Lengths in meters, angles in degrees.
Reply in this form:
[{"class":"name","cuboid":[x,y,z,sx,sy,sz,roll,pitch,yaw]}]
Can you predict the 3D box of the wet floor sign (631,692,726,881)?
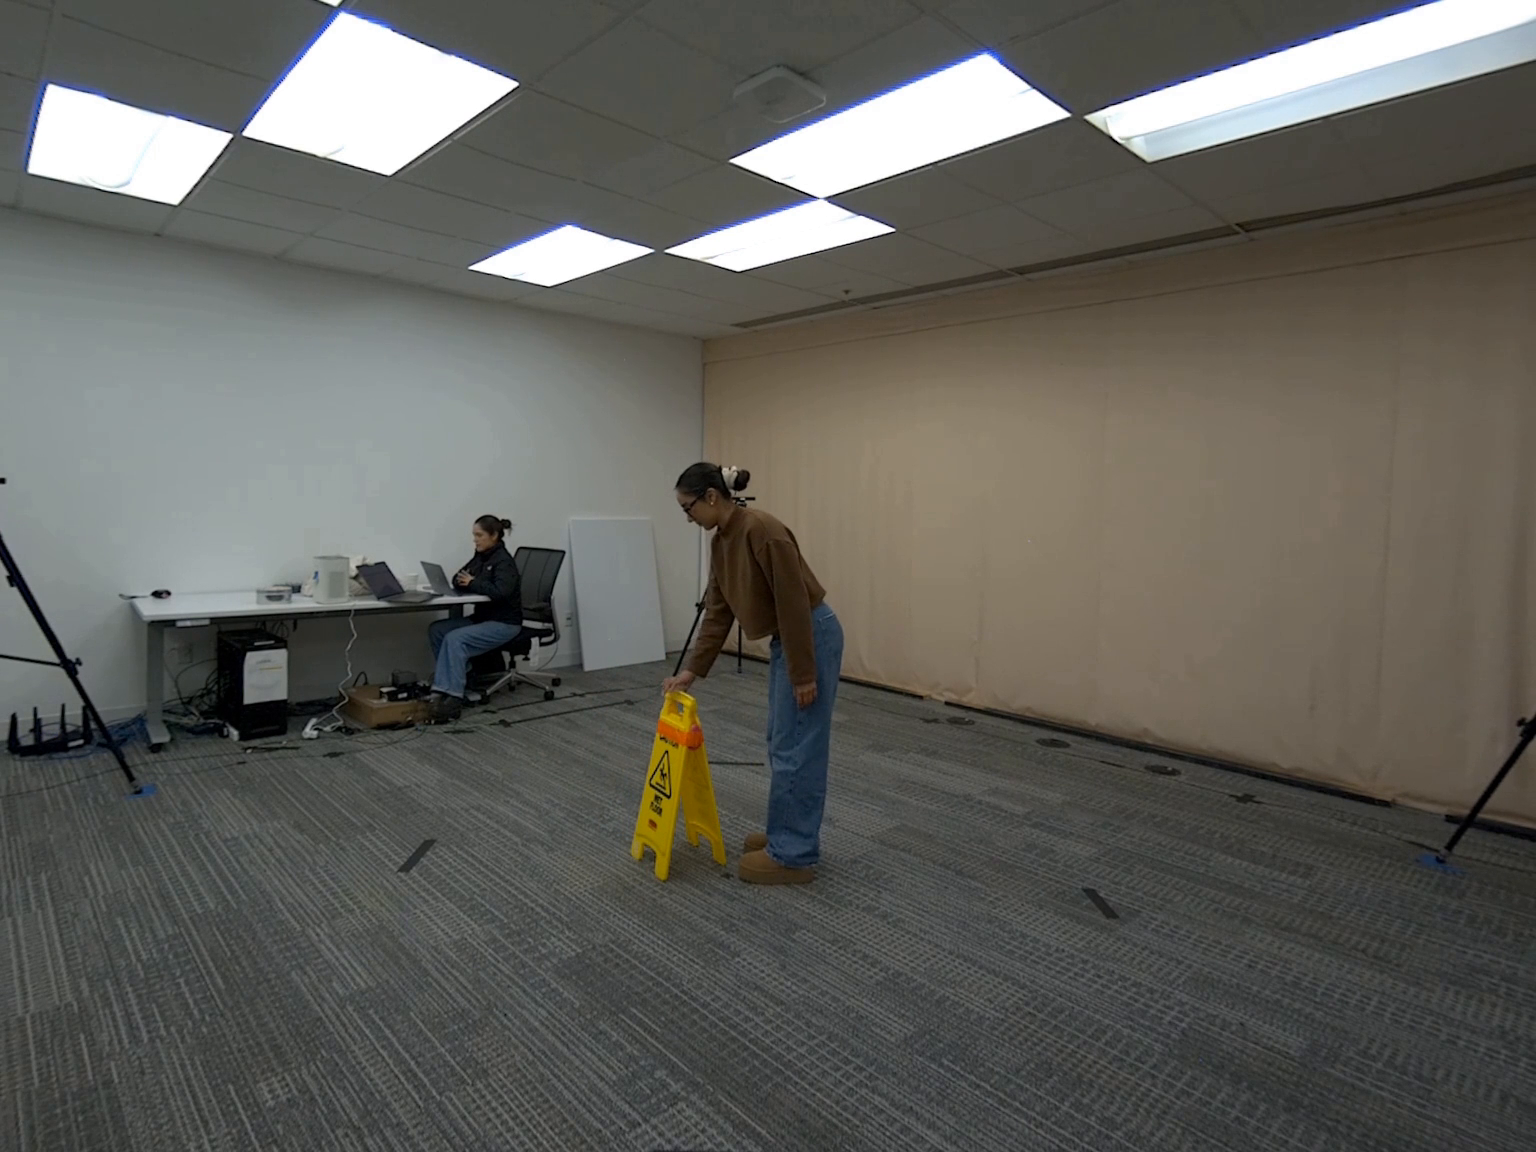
[{"class":"wet floor sign","cuboid":[-0.340,0.763,3.219,0.283,0.644,0.289,-1,4,-34]}]
